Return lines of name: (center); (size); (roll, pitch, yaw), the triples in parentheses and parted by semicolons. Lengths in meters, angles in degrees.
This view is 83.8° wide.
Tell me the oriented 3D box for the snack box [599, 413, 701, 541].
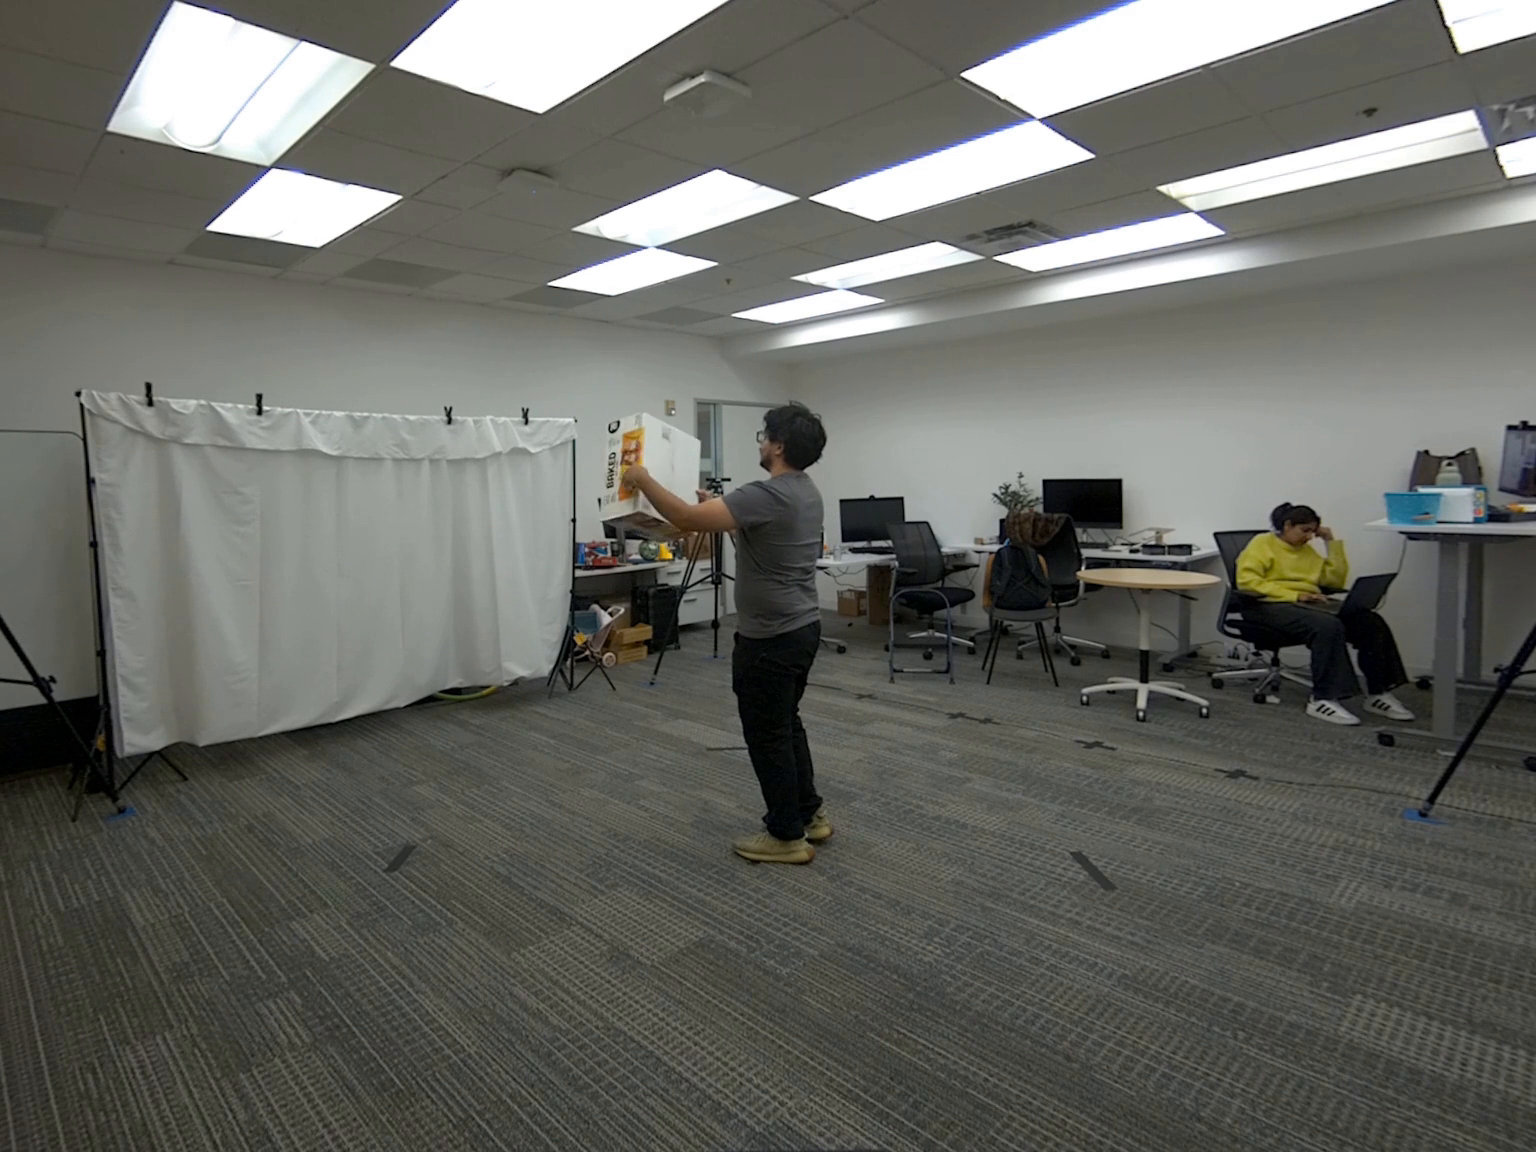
snack box: (-0.448, -0.374, 3.333); (0.210, 0.411, 0.328); (-13, -22, 35)
